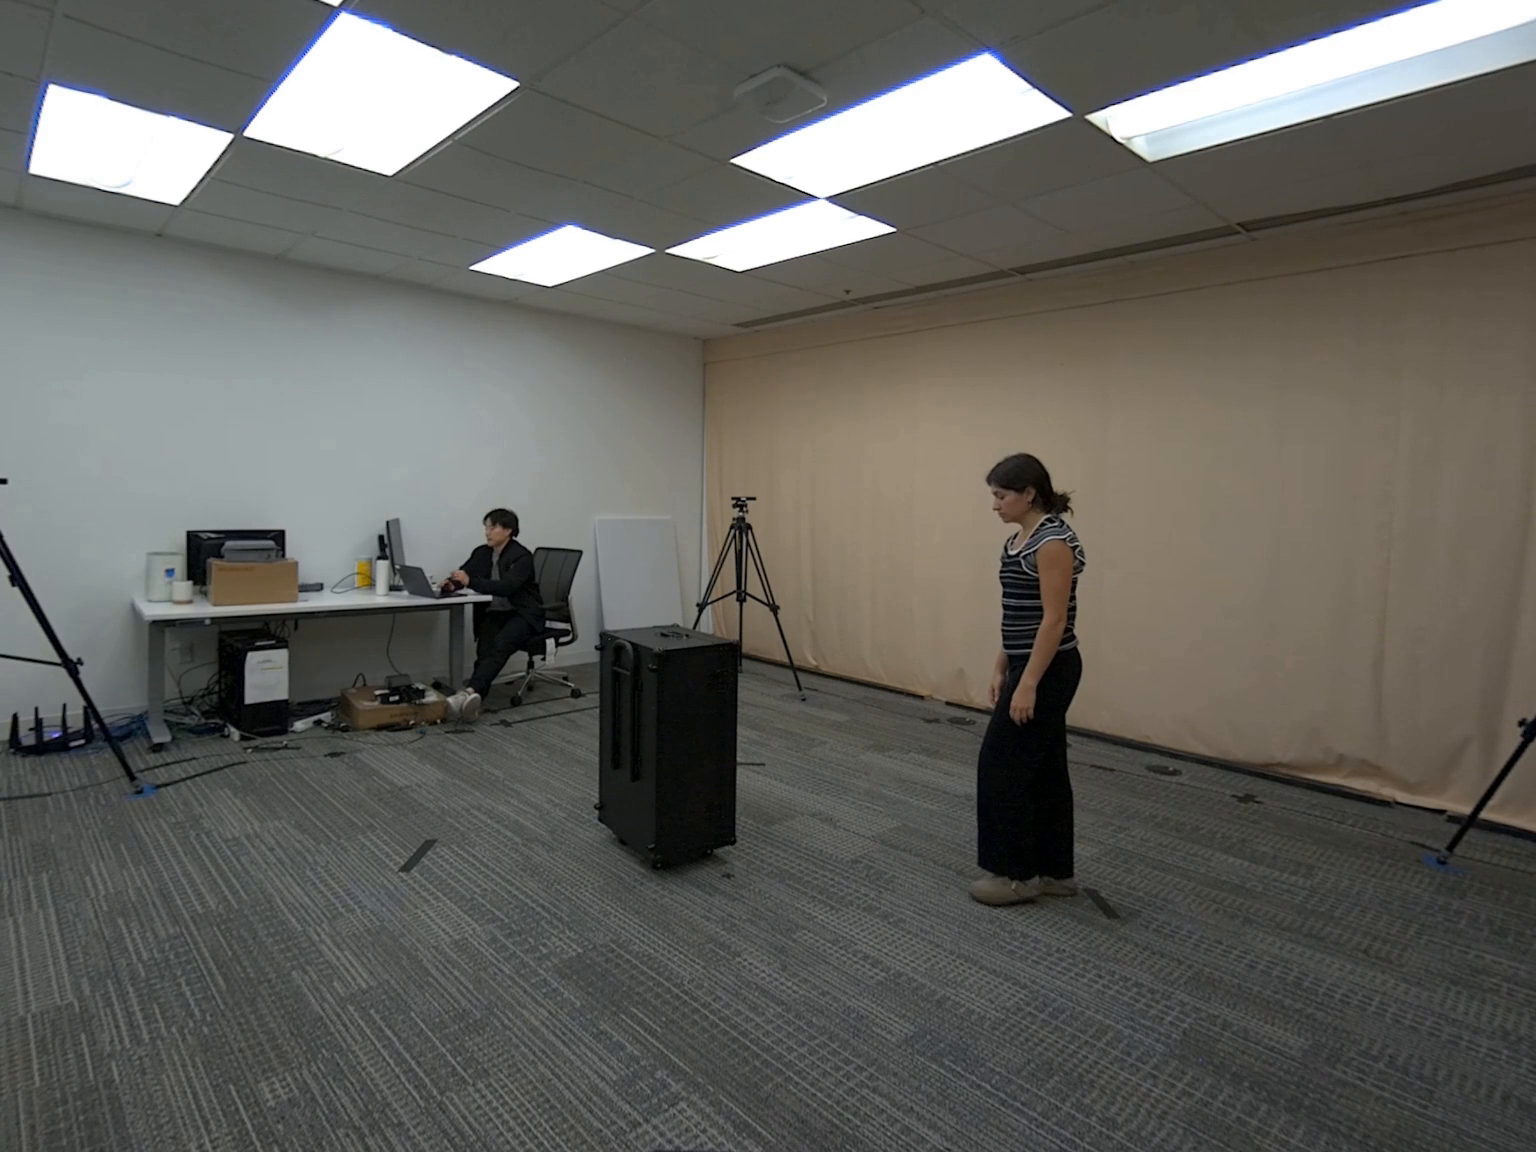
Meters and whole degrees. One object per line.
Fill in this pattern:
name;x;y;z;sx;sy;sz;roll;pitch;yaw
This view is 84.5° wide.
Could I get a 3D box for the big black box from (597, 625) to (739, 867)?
big black box;-0.410;0.654;3.289;0.388;0.859;0.534;-3;5;-35
